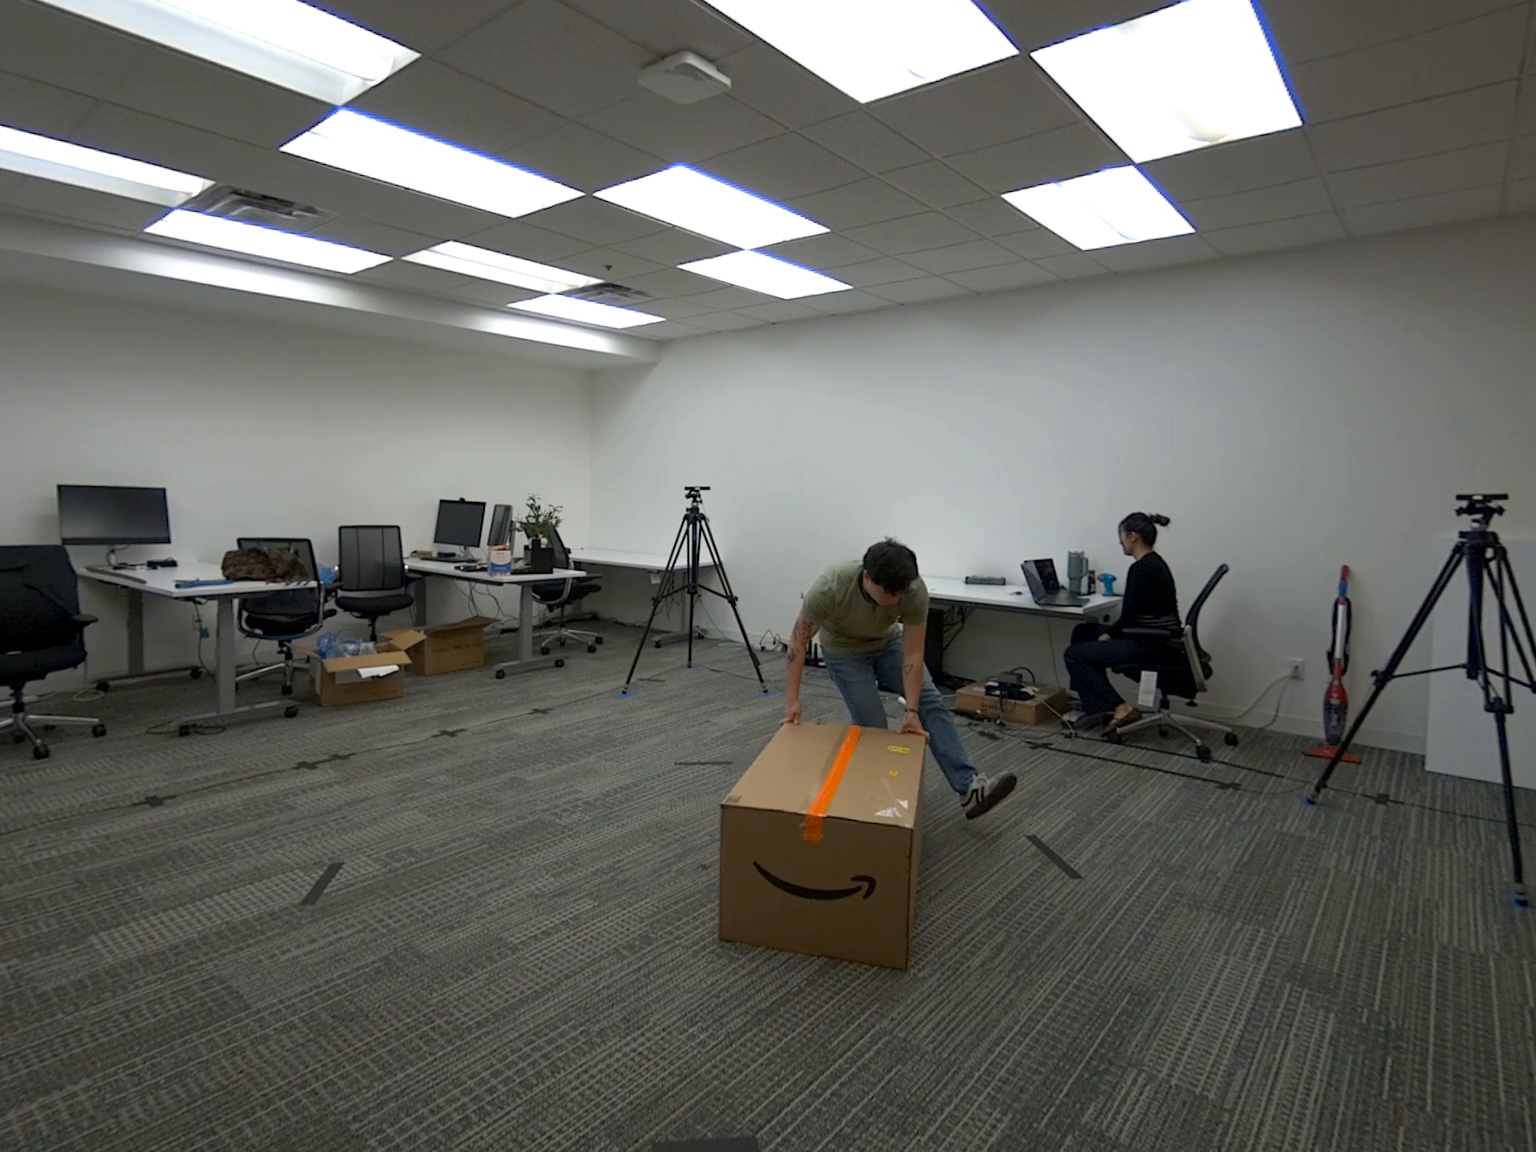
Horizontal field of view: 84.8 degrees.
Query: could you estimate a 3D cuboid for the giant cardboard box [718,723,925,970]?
[{"bbox_3d":[0.229,0.869,3.009,0.587,0.425,1.013,3,5,13],"label":"giant cardboard box"}]
